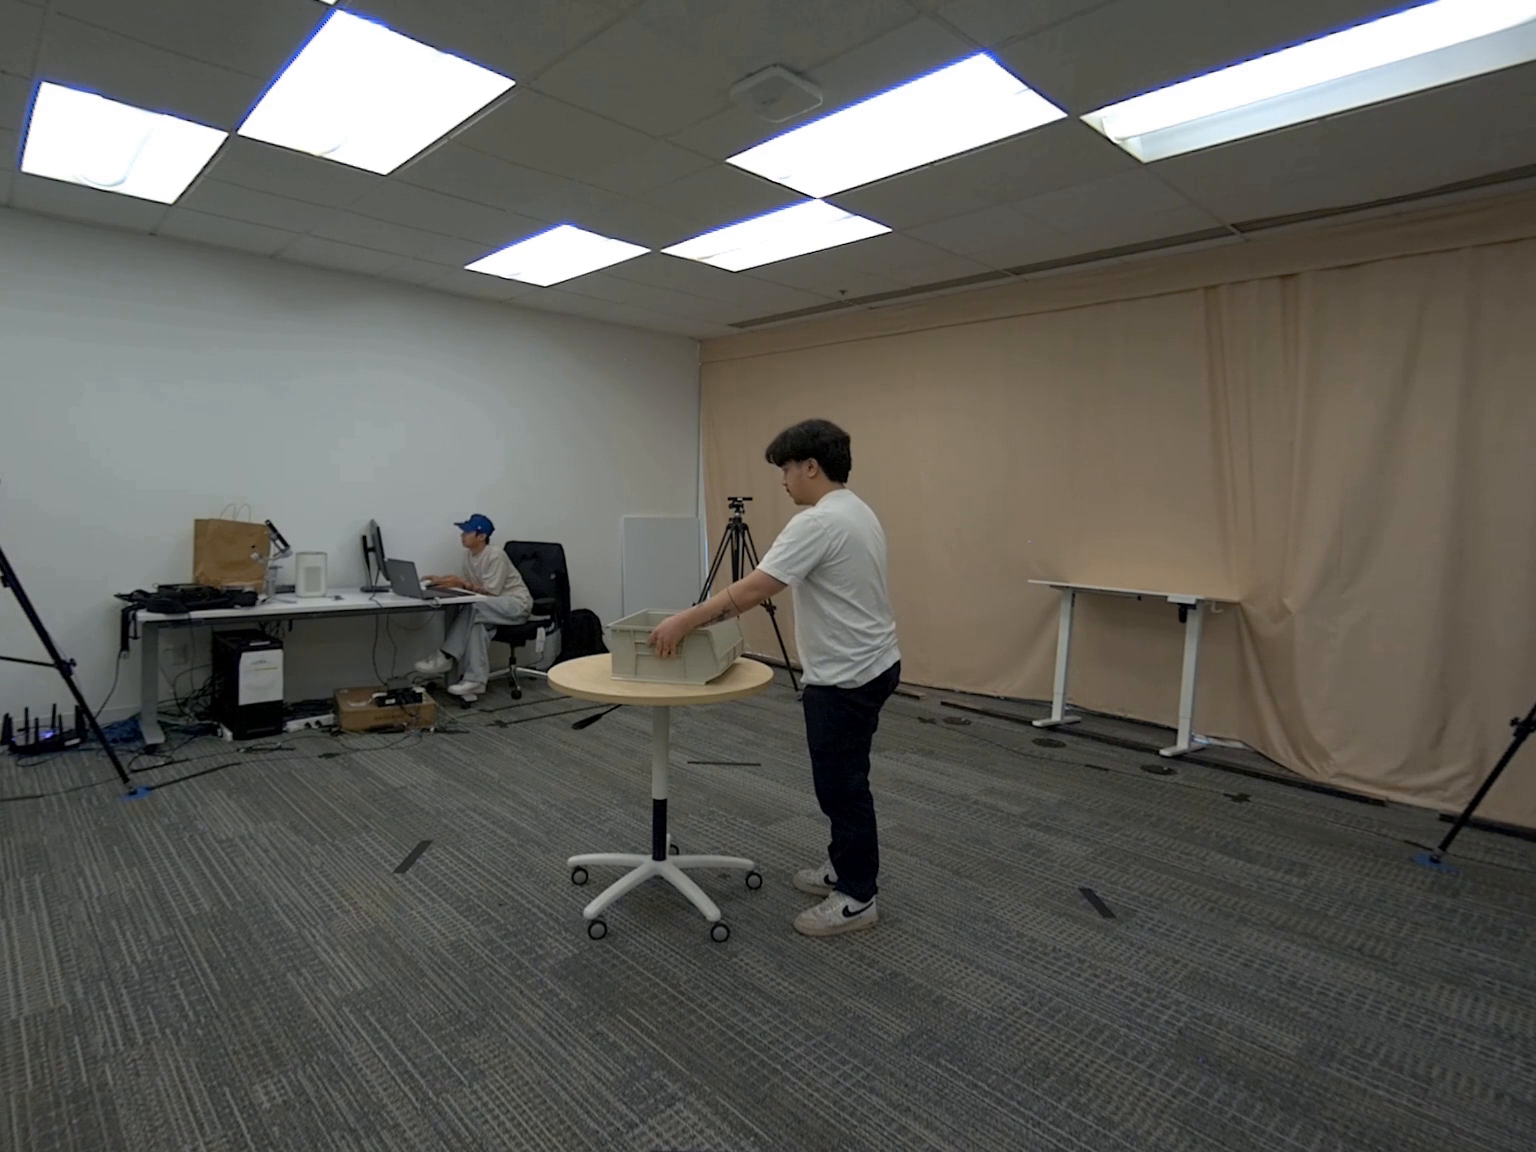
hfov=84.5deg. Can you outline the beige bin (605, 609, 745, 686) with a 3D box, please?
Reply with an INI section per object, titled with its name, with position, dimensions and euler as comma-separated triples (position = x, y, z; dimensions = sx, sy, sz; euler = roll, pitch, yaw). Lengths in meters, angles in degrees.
[beige bin]
position = -0.297, 0.232, 2.878
dimensions = 0.380, 0.188, 0.420
euler = -1, 5, 10
